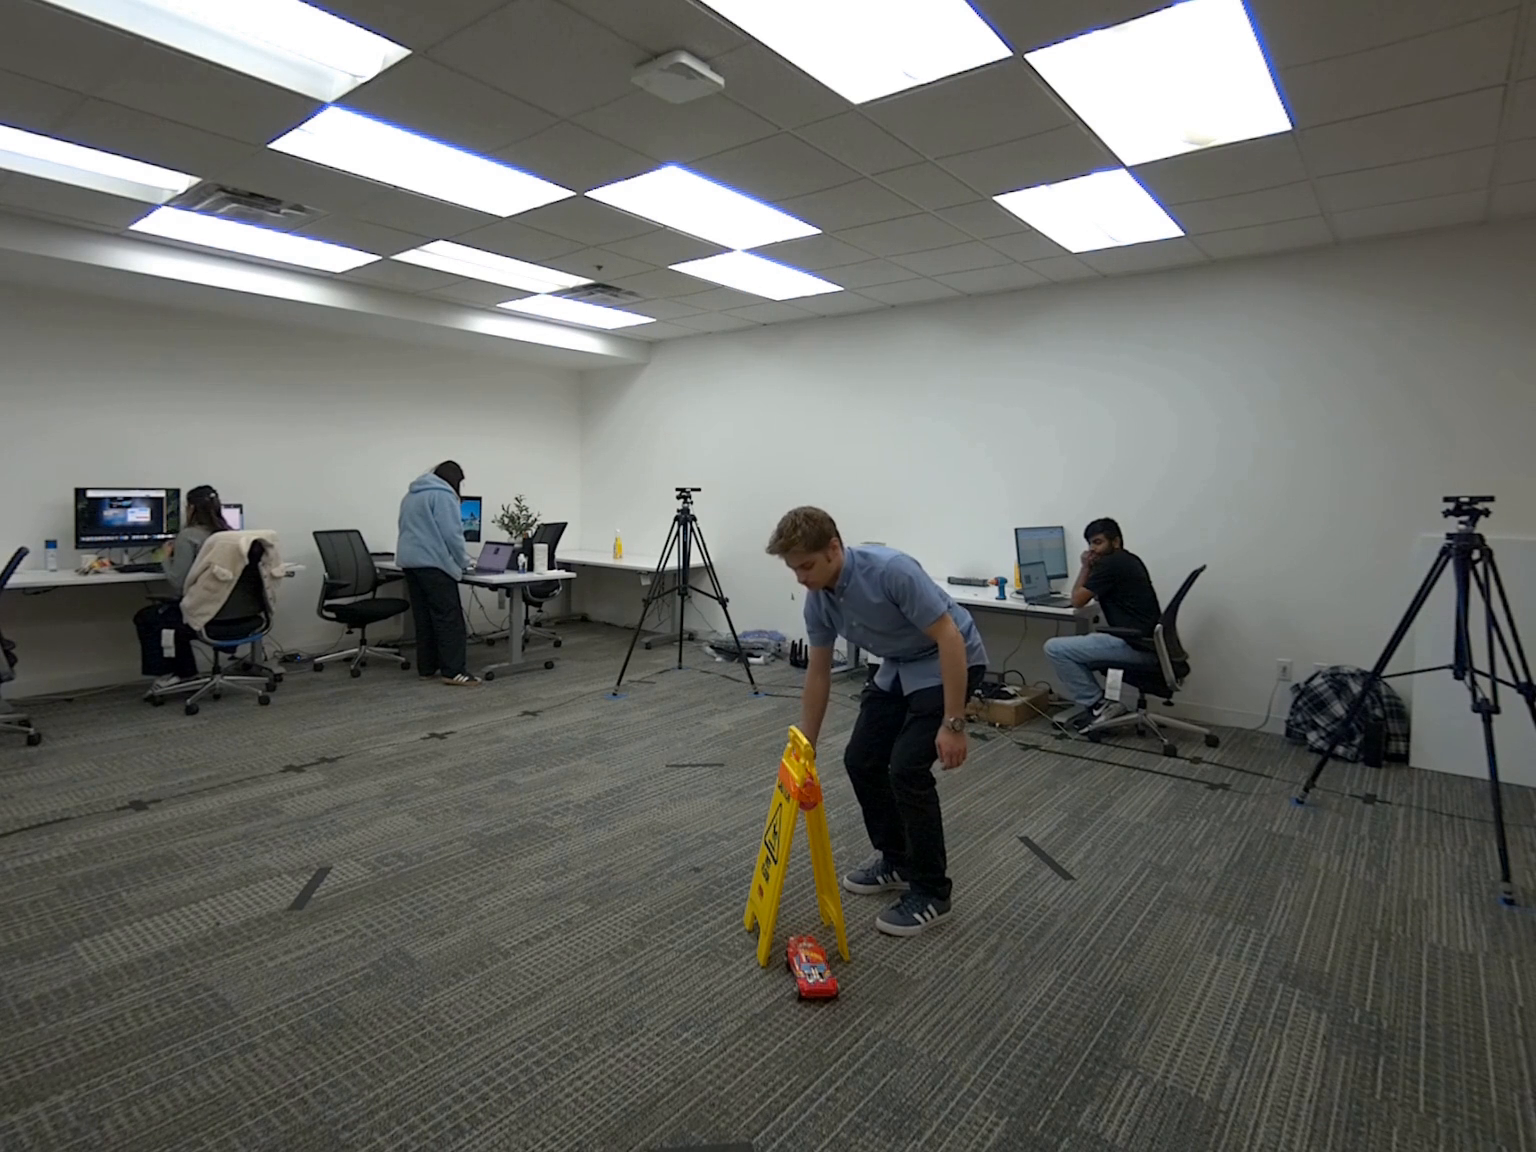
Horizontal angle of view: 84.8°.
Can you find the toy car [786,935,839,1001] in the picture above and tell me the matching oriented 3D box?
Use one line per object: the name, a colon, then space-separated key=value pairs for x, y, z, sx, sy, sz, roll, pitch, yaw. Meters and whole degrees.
toy car: x=0.119 y=1.114 z=2.417 sx=0.129 sy=0.082 sz=0.260 roll=-1 pitch=16 yaw=-8
